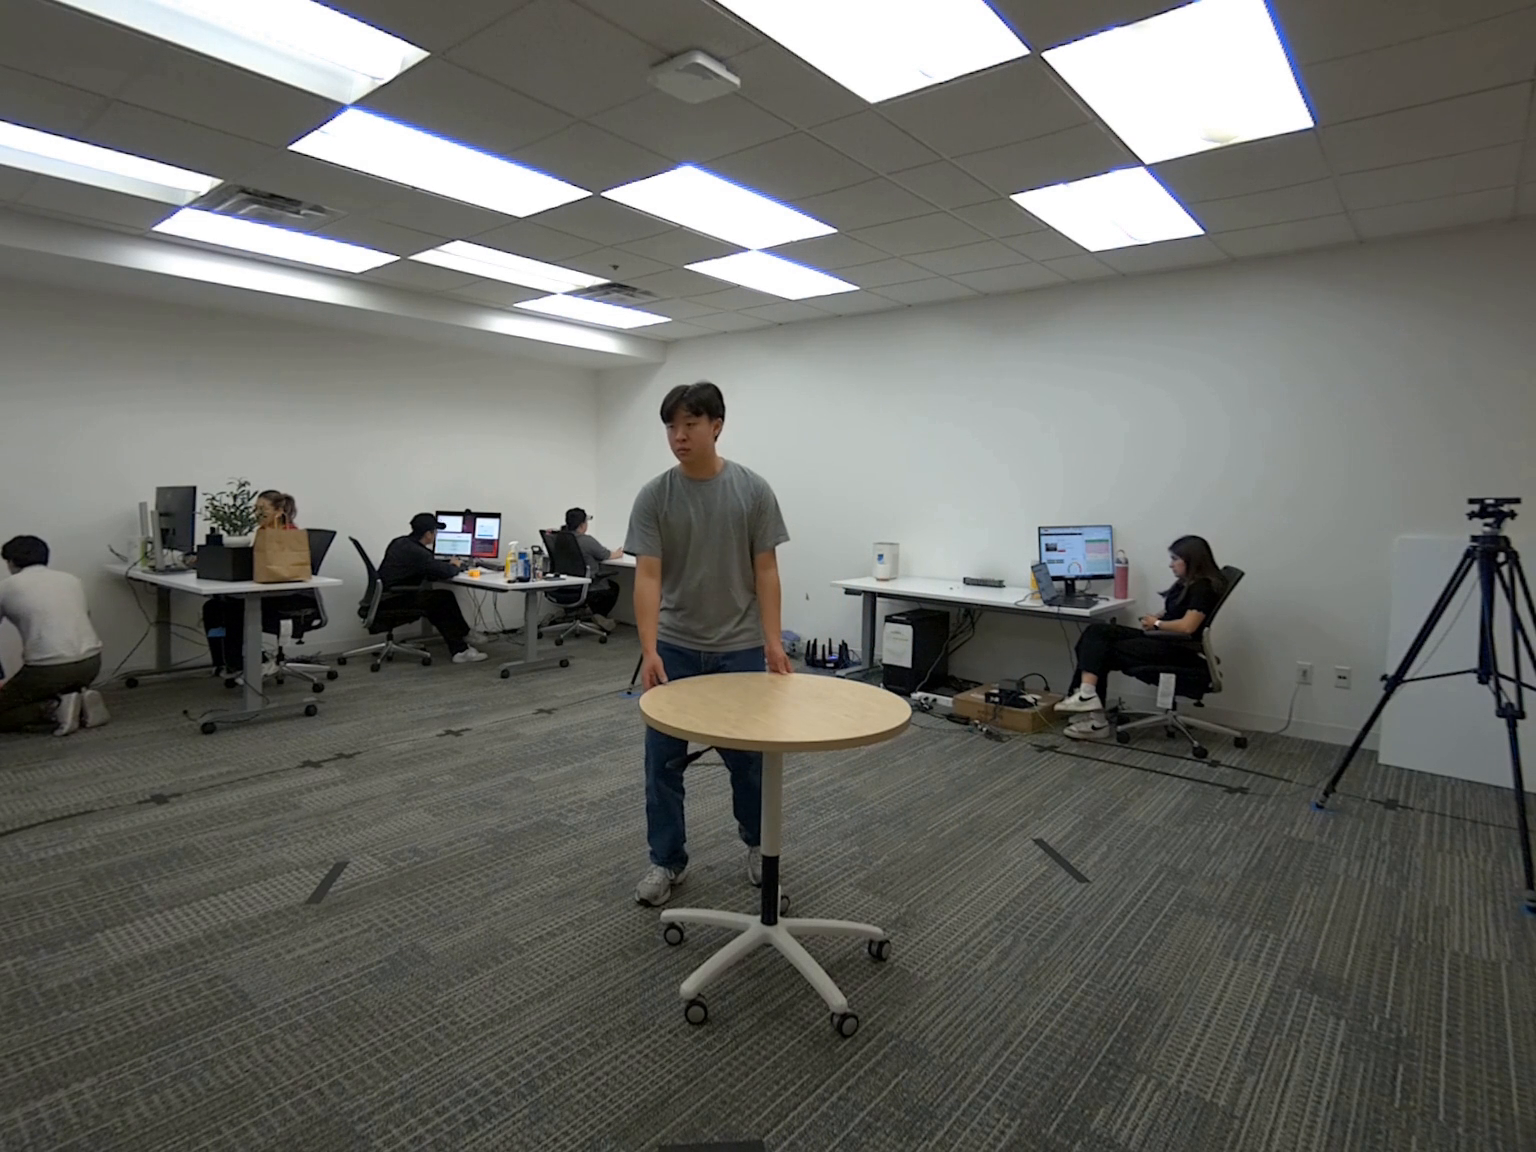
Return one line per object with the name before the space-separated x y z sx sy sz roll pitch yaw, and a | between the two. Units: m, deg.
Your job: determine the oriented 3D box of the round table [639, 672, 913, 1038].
round table | 0.000 0.748 2.443 0.763 0.791 0.768 1 5 -2
